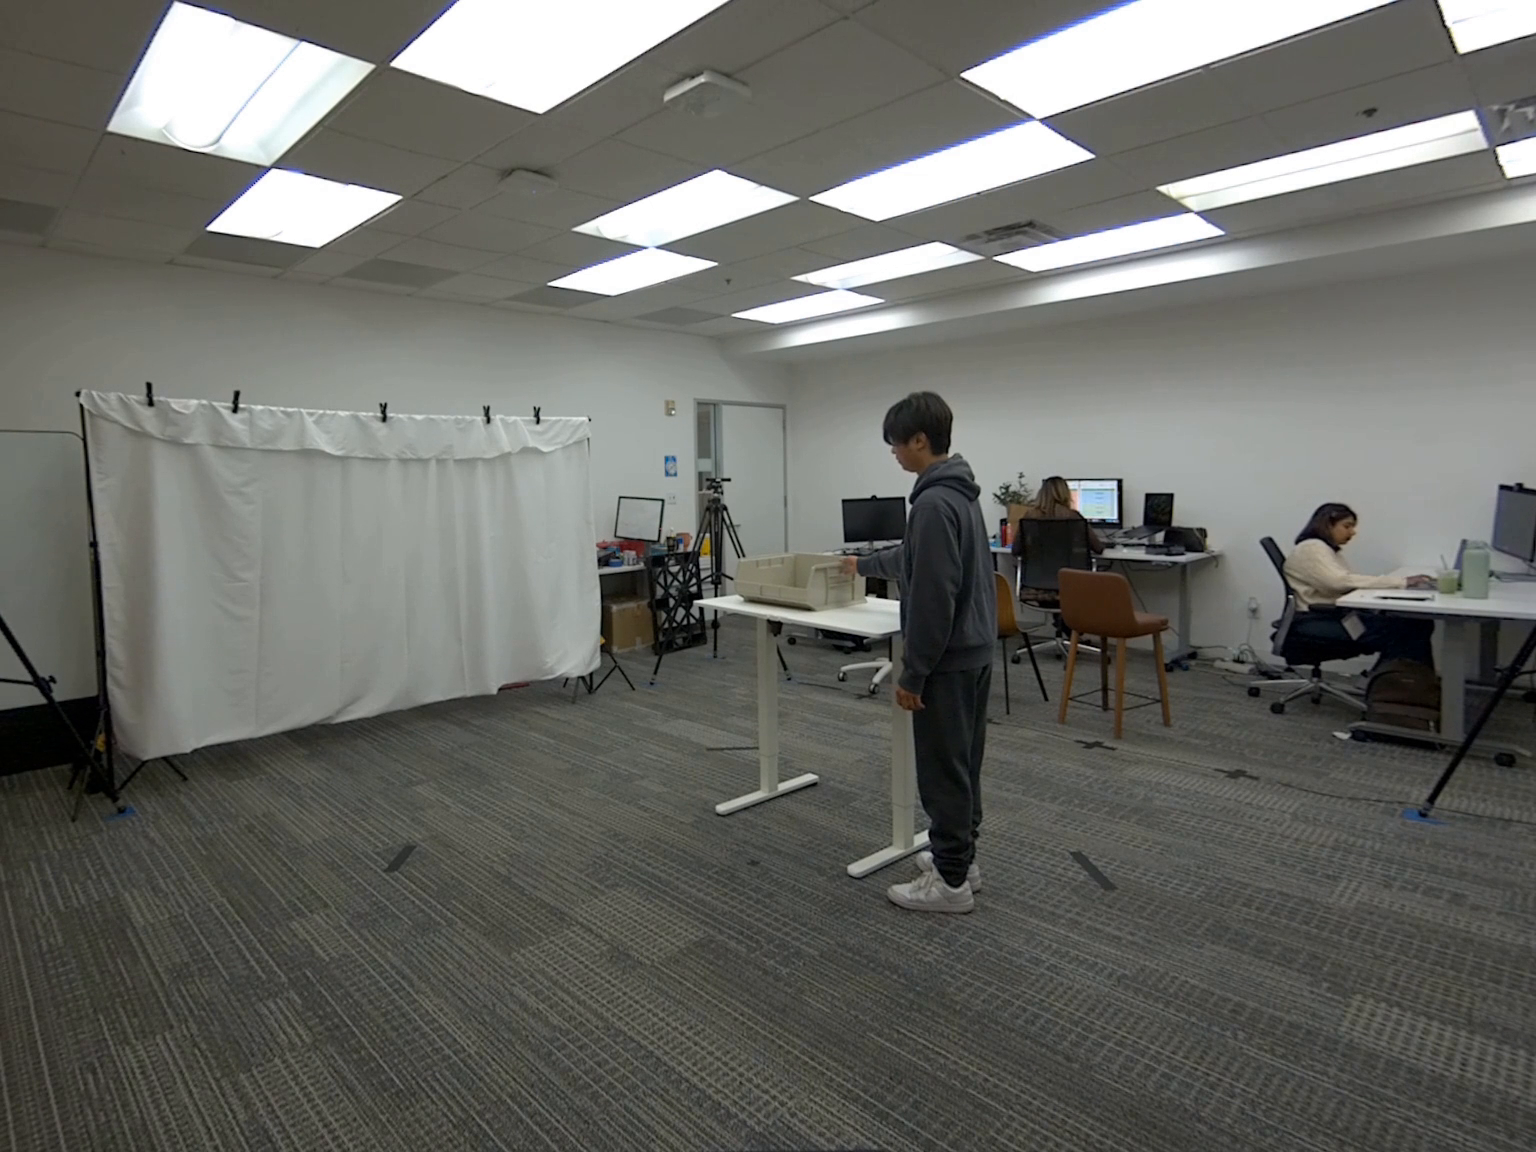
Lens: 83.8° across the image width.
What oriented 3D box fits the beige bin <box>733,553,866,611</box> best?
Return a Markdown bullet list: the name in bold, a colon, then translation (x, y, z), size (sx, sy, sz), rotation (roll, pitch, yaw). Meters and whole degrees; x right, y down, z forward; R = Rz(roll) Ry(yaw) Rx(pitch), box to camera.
- **beige bin**: translation (0.139, 0.021, 3.505), size (0.367, 0.188, 0.435), rotation (-6, 8, -43)
